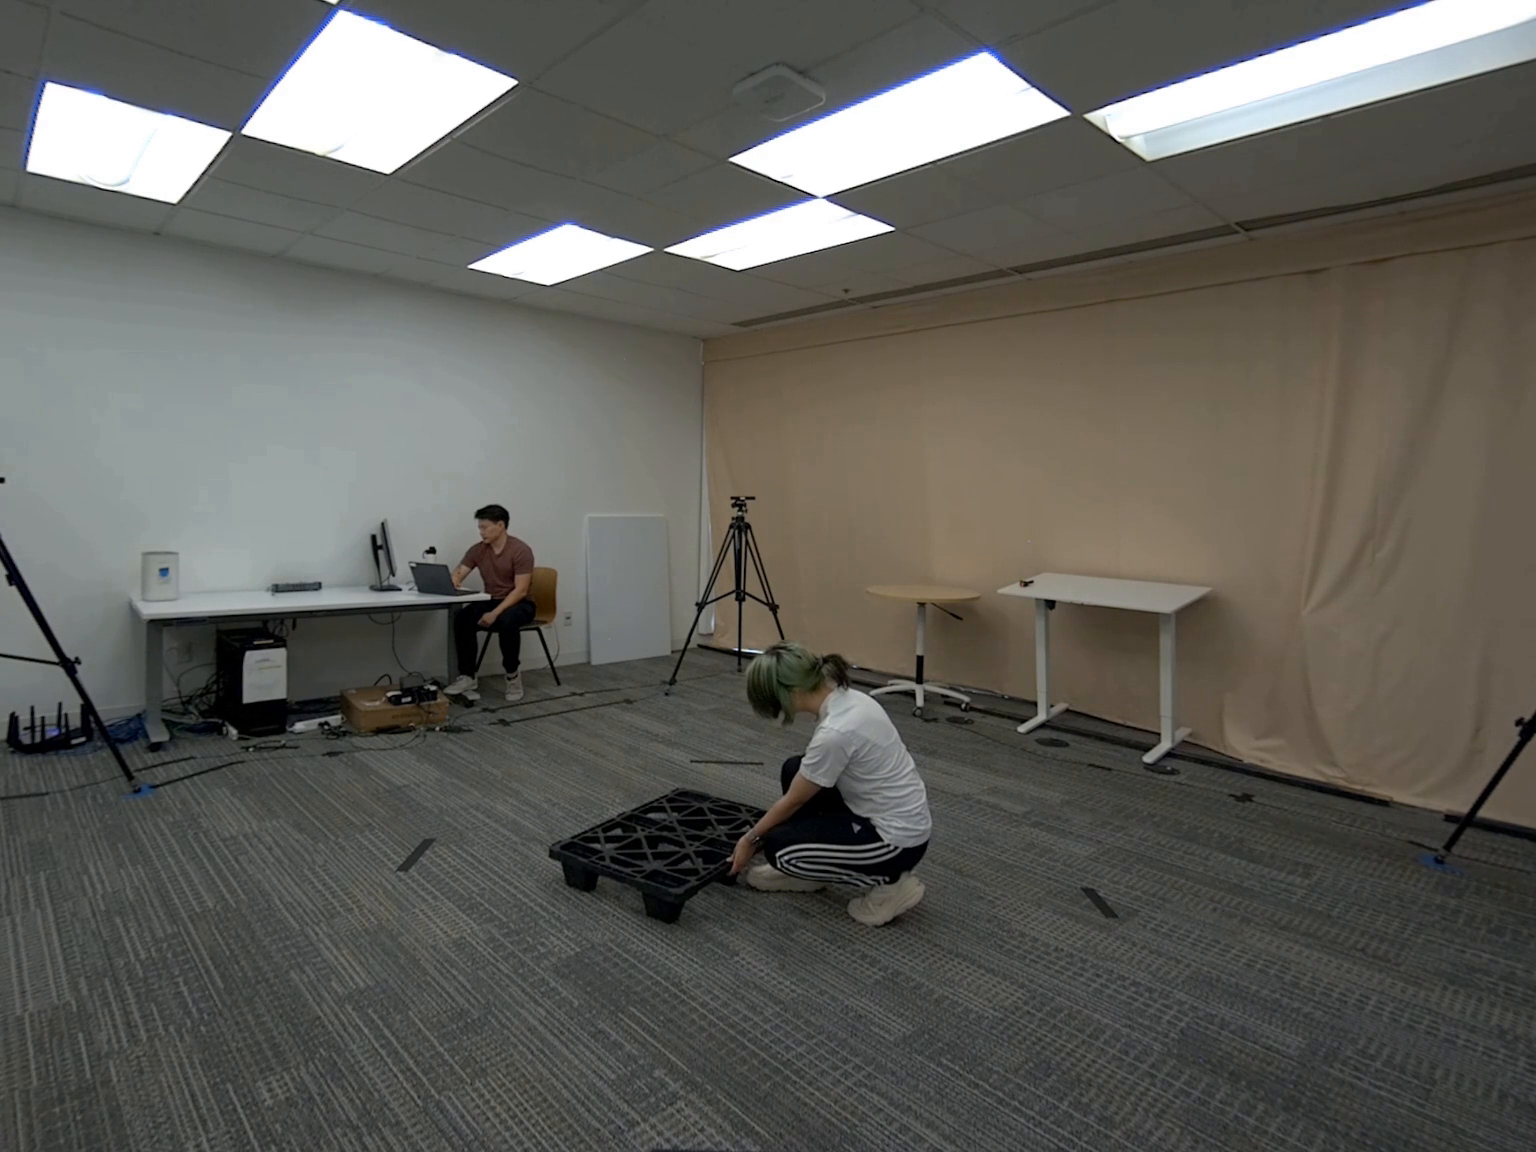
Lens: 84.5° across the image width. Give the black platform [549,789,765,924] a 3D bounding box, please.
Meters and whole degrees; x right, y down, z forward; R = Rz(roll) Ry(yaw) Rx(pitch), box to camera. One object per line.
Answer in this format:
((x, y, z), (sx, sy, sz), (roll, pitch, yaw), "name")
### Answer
((-0.331, 1.026, 3.169), (0.619, 0.143, 0.790), (5, 7, 32), "black platform")
